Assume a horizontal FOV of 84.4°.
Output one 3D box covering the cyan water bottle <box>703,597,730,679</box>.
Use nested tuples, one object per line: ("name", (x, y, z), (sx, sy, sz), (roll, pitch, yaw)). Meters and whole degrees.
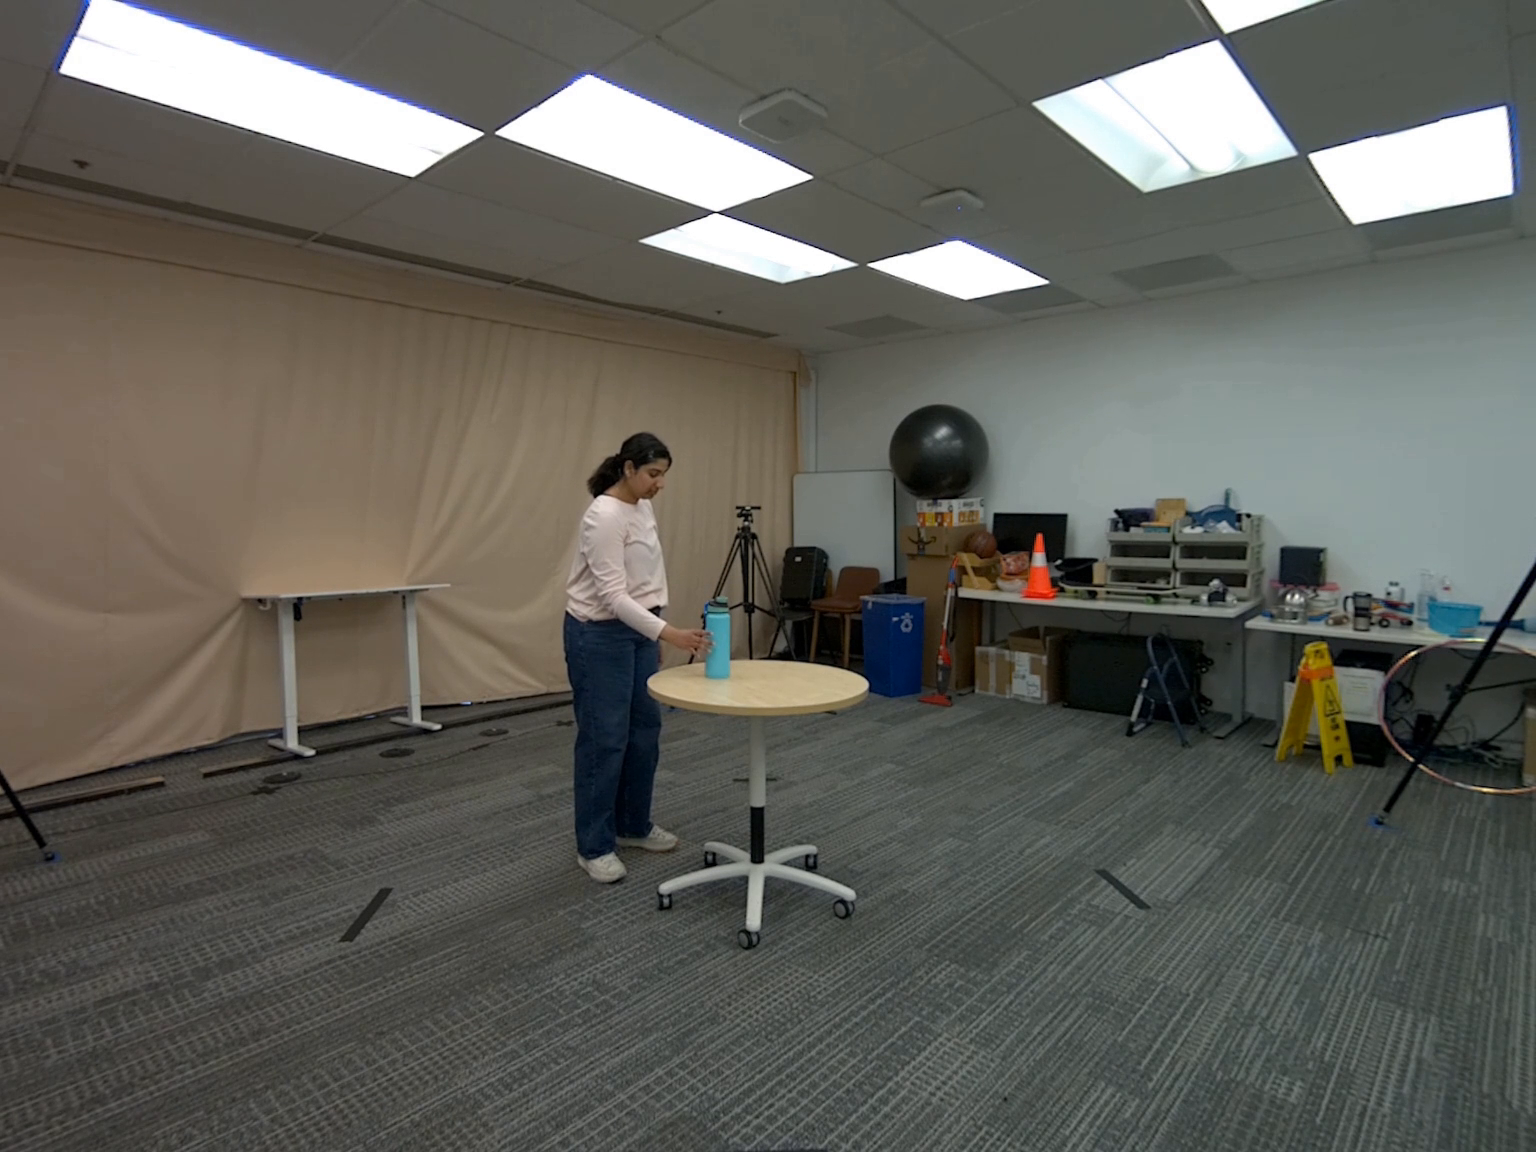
("cyan water bottle", (-0.178, 0.222, 2.996), (0.092, 0.283, 0.092), (1, 3, -2))
